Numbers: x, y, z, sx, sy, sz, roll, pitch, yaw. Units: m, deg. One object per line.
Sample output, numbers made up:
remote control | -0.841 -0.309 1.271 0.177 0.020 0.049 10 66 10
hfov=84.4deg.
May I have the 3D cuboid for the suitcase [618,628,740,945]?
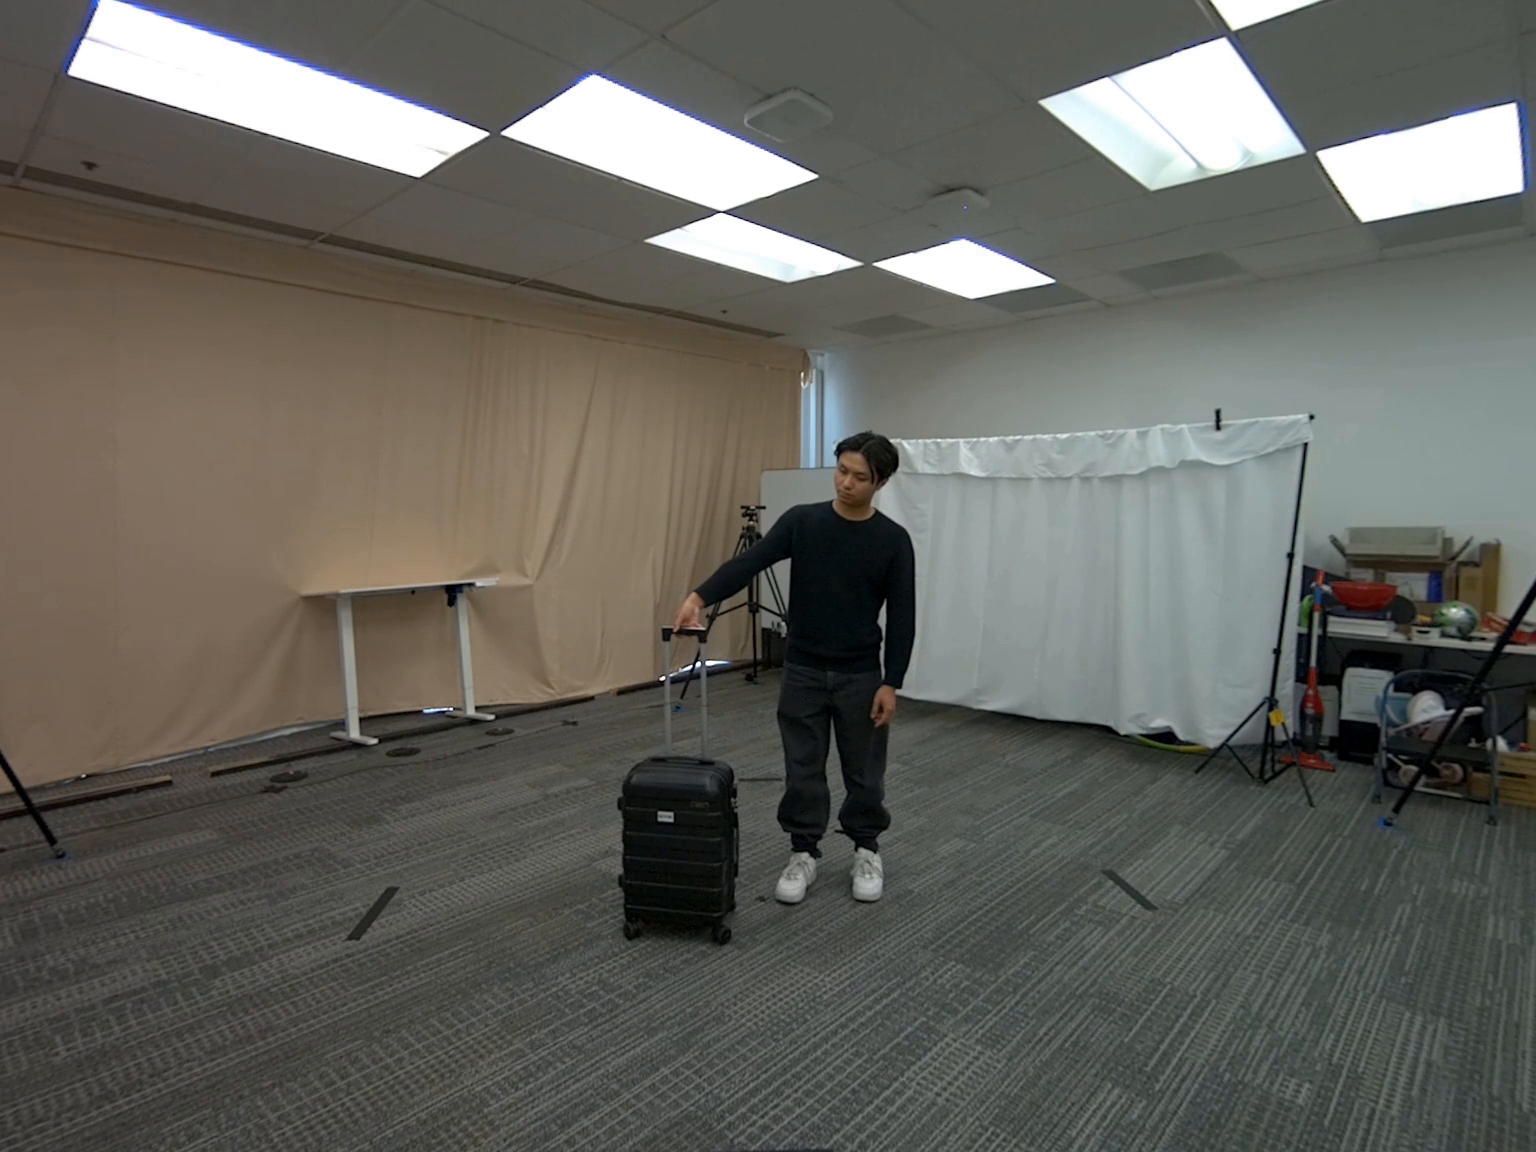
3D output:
suitcase | -0.290 0.686 2.765 0.388 0.976 0.255 0 4 8
